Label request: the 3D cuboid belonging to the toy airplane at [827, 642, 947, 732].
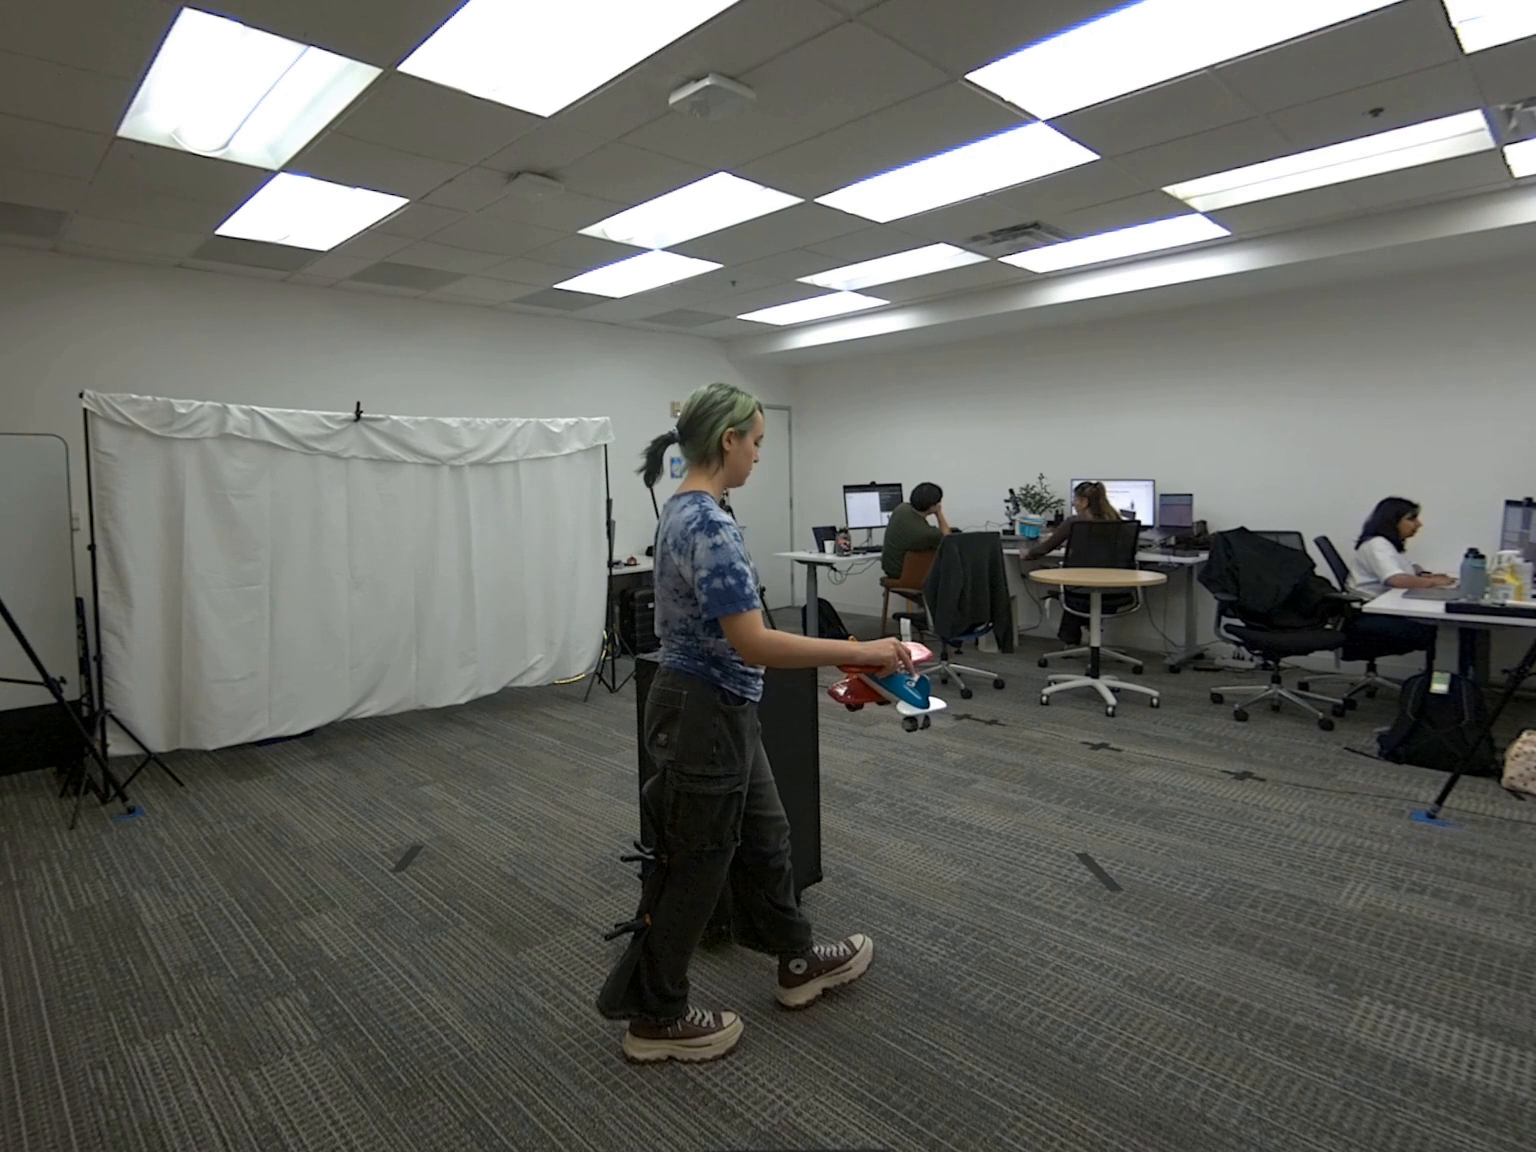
[{"bbox_3d":[0.298,0.242,1.949,0.267,0.155,0.245,4,10,36],"label":"toy airplane"}]
